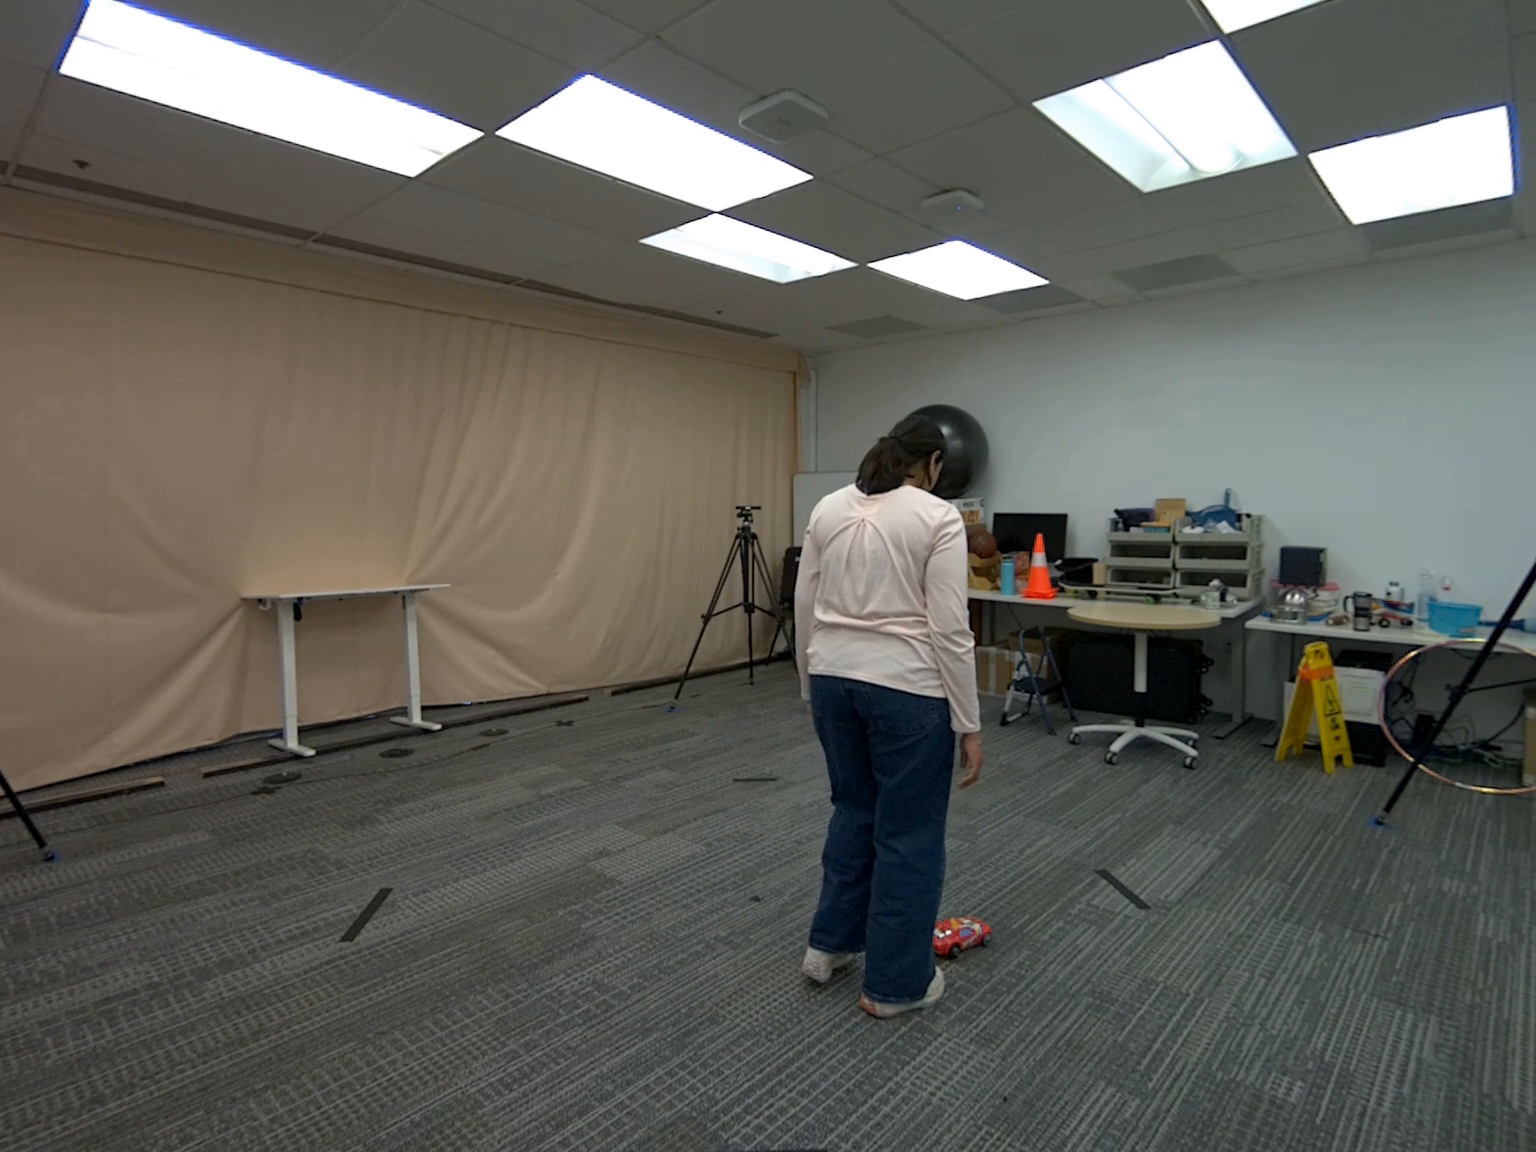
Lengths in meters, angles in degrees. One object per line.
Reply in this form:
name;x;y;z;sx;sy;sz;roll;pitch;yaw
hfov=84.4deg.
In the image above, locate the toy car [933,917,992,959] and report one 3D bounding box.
toy car;0.595;1.140;2.657;0.247;0.083;0.134;10;-1;-31
